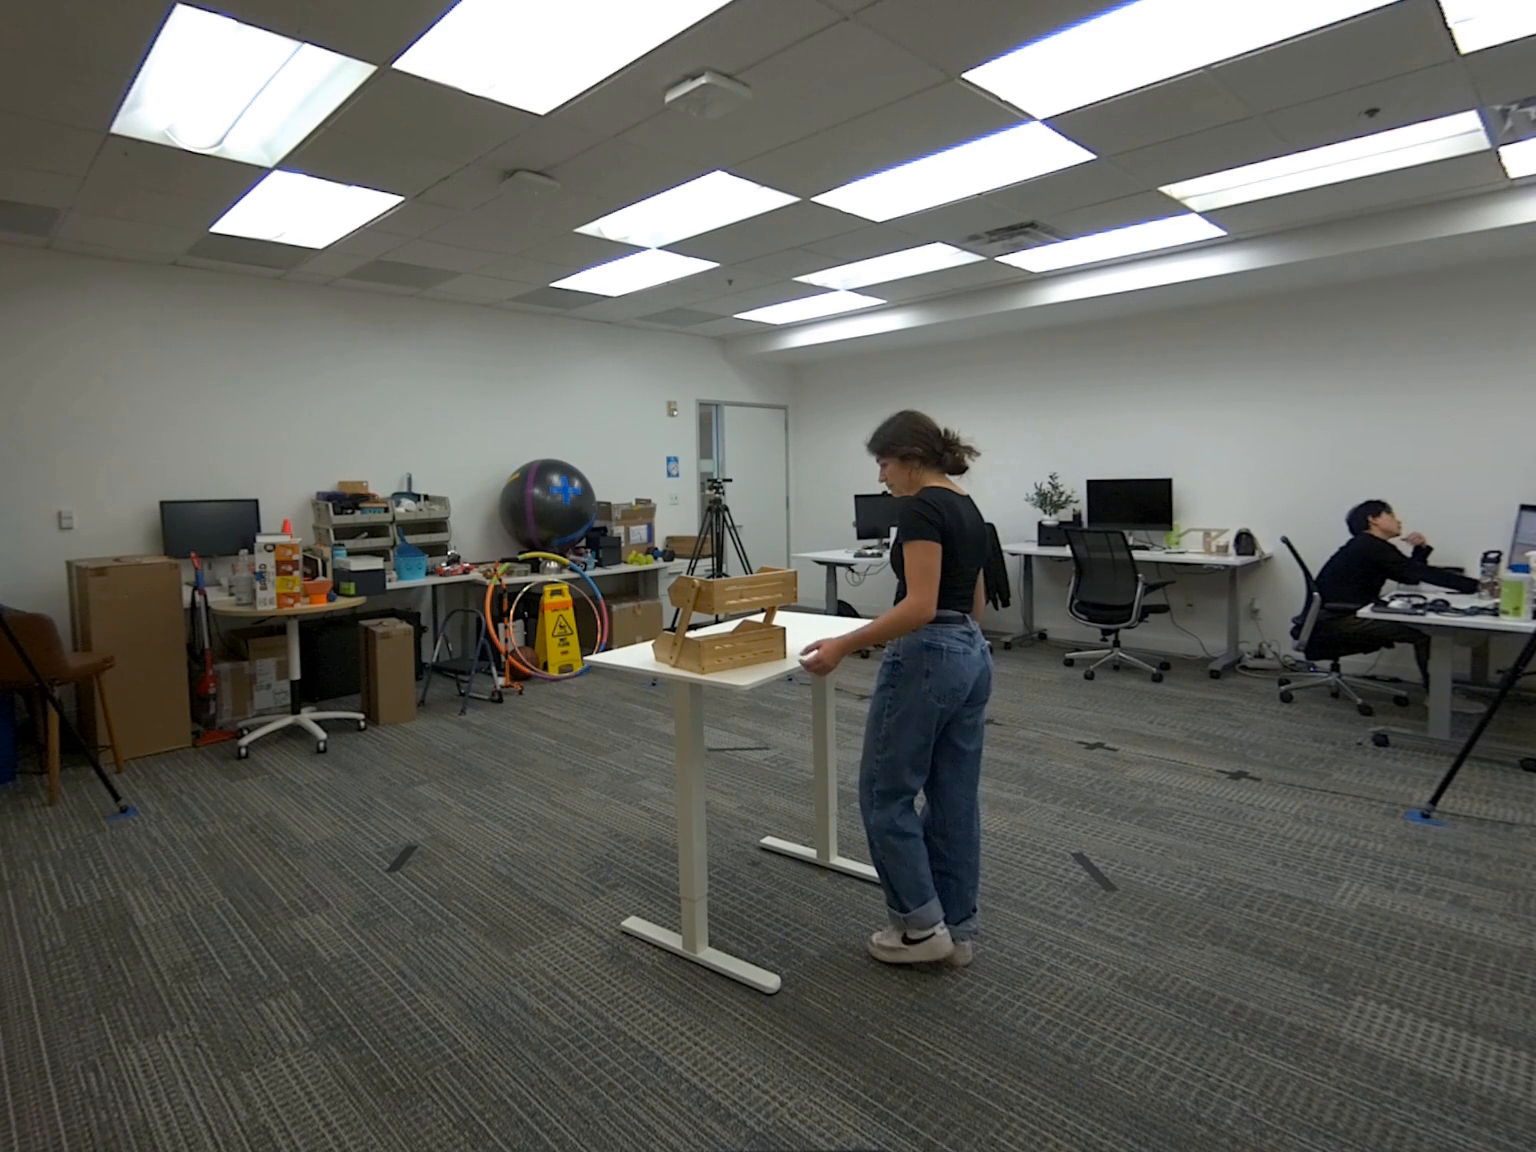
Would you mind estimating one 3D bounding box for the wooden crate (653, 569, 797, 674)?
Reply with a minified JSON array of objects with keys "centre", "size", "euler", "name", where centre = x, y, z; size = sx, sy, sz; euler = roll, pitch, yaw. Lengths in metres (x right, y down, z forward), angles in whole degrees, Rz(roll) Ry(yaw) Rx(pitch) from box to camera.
[{"centre":[-0.120,0.109,2.440],"size":[0.316,0.272,0.311],"euler":[-6,8,-38],"name":"wooden crate"}]
